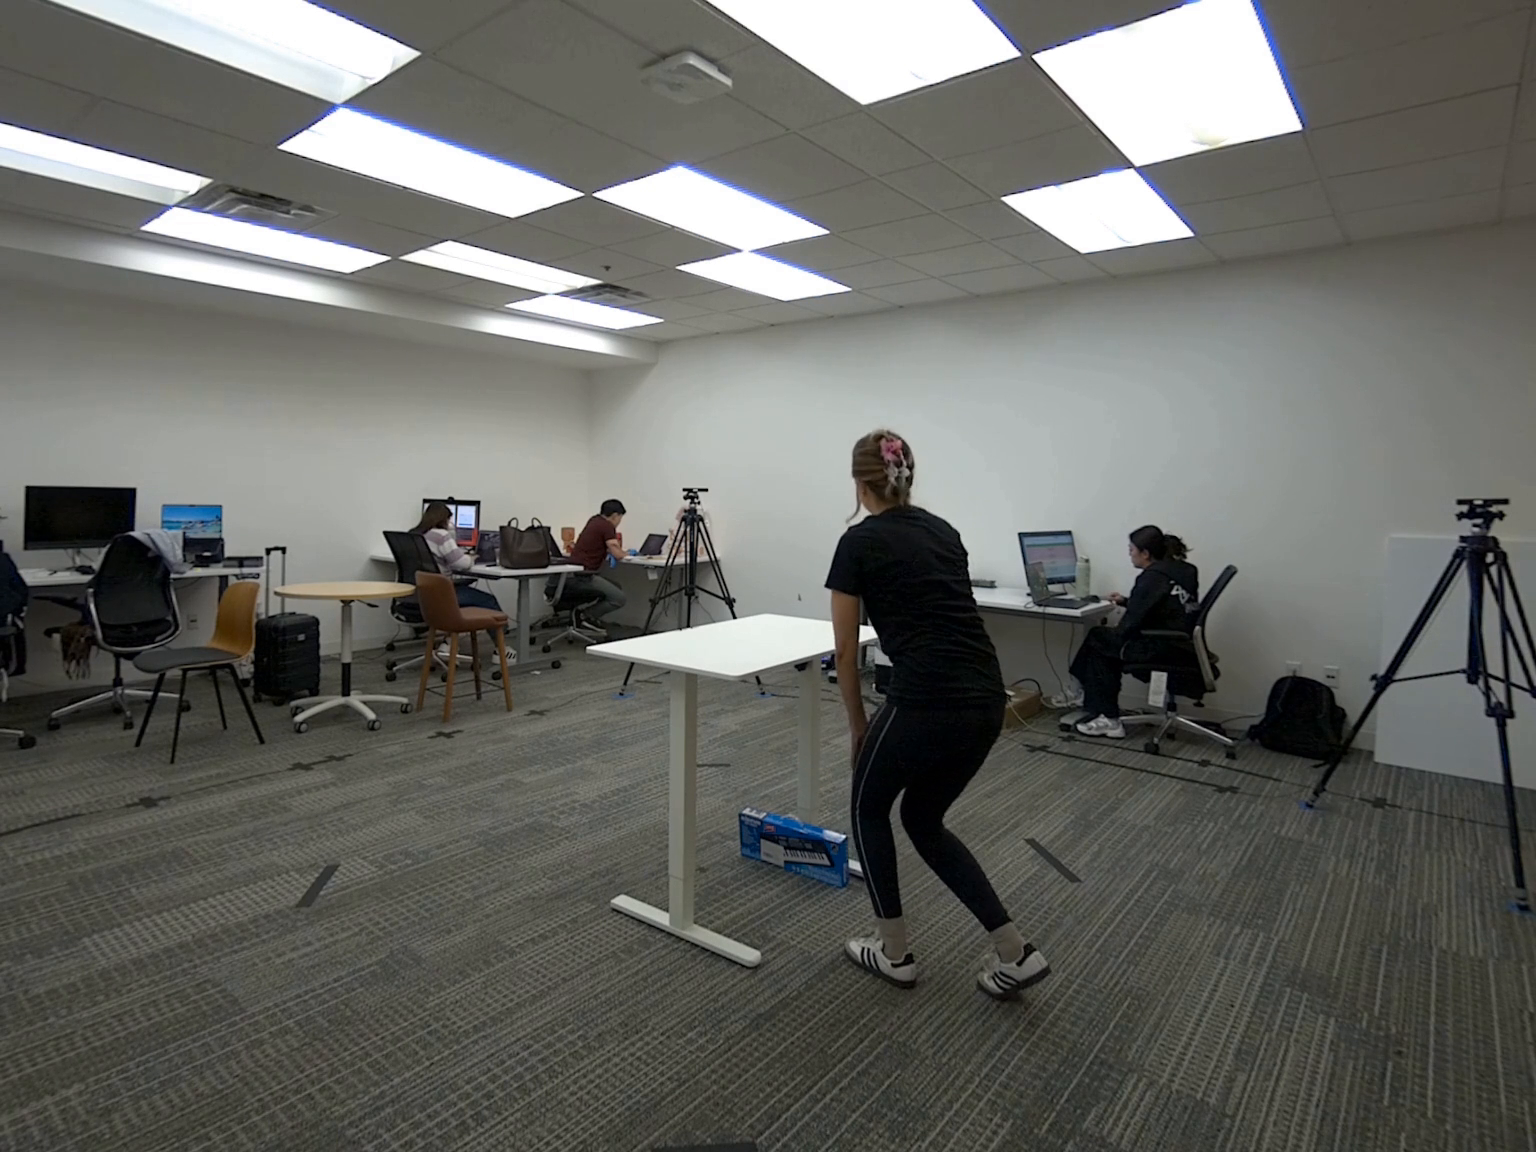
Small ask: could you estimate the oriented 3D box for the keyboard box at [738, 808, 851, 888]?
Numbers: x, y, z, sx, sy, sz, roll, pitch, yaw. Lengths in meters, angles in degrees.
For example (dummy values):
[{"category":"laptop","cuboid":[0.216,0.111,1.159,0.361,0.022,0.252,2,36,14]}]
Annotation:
[{"category":"keyboard box","cuboid":[0.083,0.987,3.125,0.451,0.174,0.058,5,12,35]}]
